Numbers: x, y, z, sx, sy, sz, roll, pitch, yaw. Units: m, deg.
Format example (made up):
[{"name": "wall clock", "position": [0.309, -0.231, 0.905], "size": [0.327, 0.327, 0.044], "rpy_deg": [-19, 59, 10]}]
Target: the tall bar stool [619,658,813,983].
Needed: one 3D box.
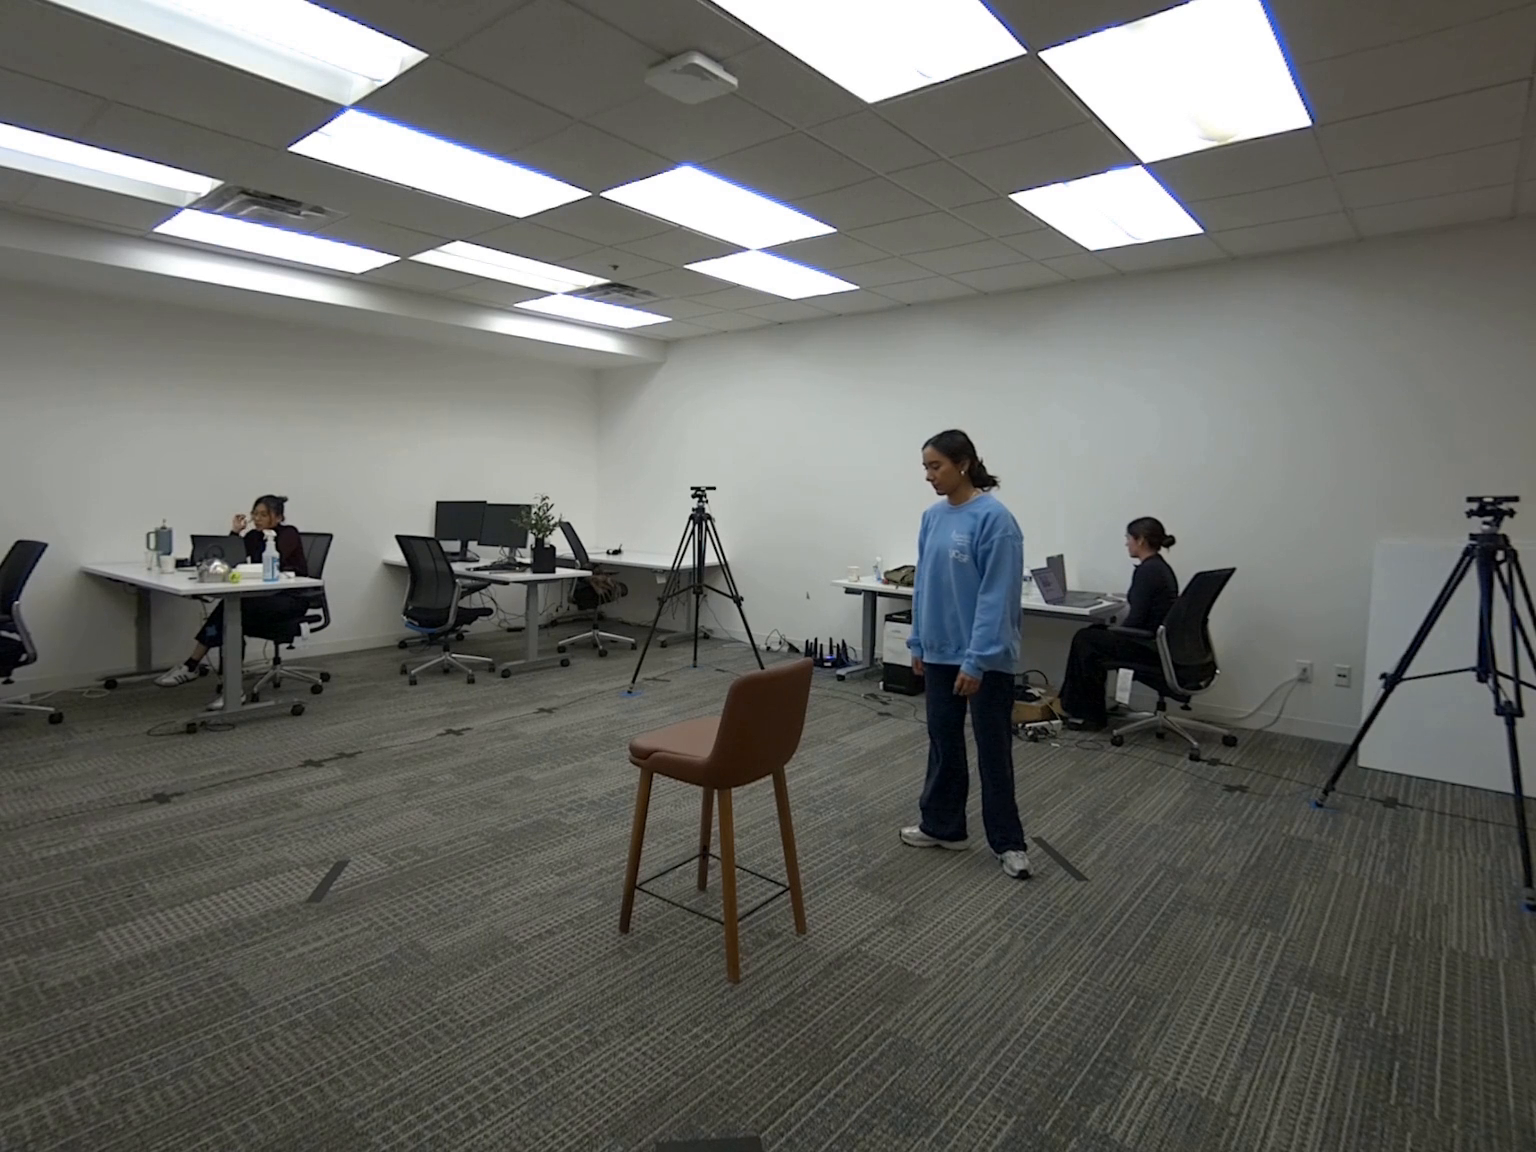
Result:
[{"name": "tall bar stool", "position": [-0.160, 0.676, 2.635], "size": [0.483, 0.886, 0.443], "rpy_deg": [6, 6, 37]}]
